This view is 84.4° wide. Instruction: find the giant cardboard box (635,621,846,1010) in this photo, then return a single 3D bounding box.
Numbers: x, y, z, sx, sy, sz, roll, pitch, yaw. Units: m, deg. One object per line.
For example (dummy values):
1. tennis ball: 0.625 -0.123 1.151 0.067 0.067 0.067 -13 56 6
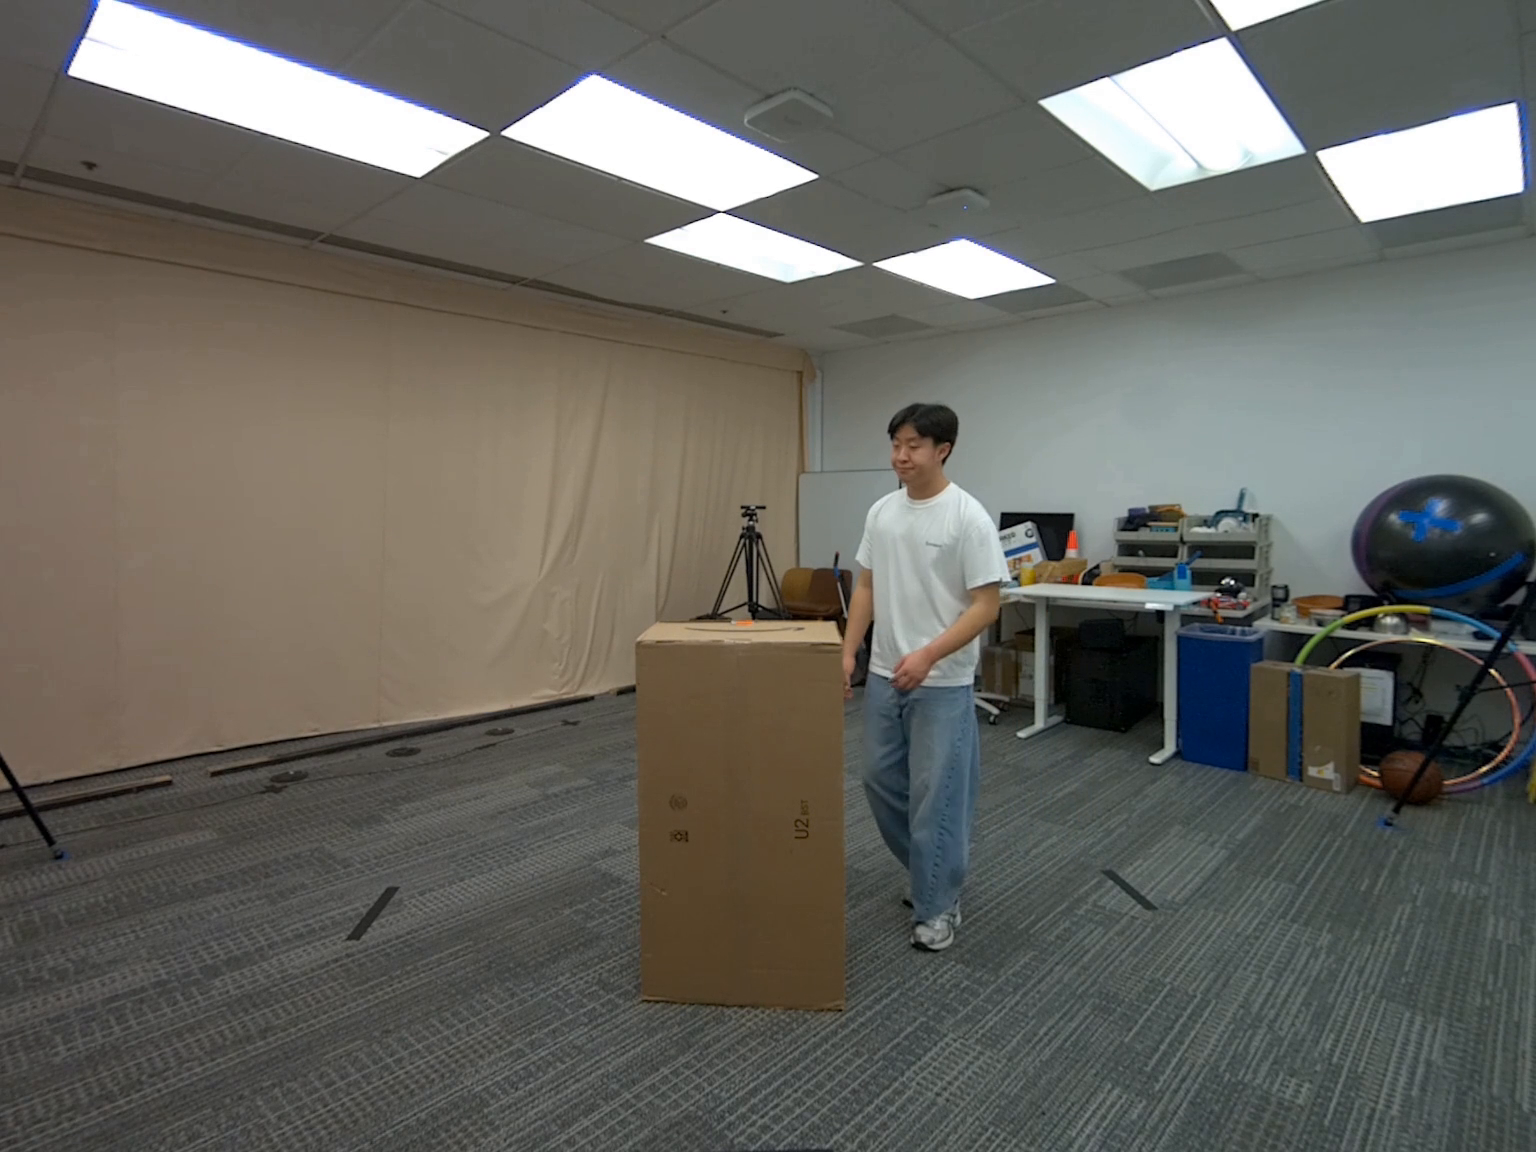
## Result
1. giant cardboard box: -0.069 0.673 2.521 0.582 1.024 0.424 0 2 6
